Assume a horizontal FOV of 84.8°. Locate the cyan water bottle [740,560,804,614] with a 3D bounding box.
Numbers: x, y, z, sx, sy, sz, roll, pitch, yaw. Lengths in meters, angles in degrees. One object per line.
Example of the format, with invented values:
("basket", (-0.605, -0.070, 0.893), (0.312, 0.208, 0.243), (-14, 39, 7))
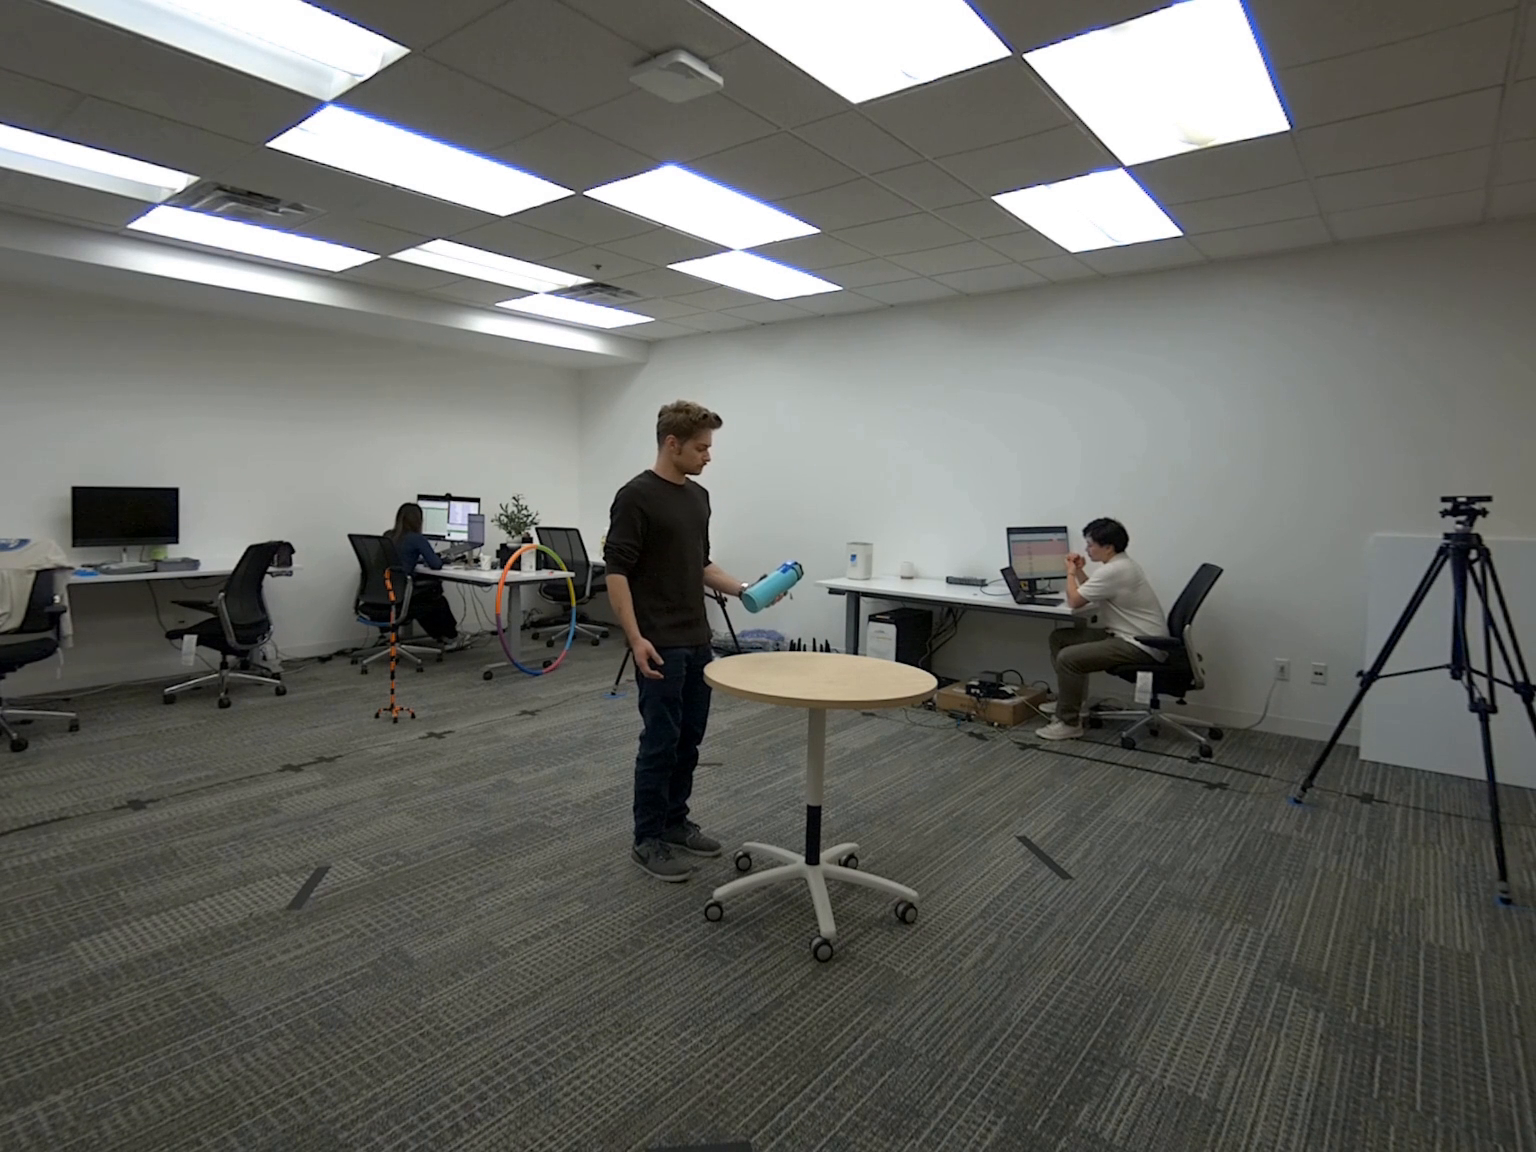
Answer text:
("cyan water bottle", (0.021, 0.033, 3.214), (0.281, 0.090, 0.095), (-36, 25, -32))
